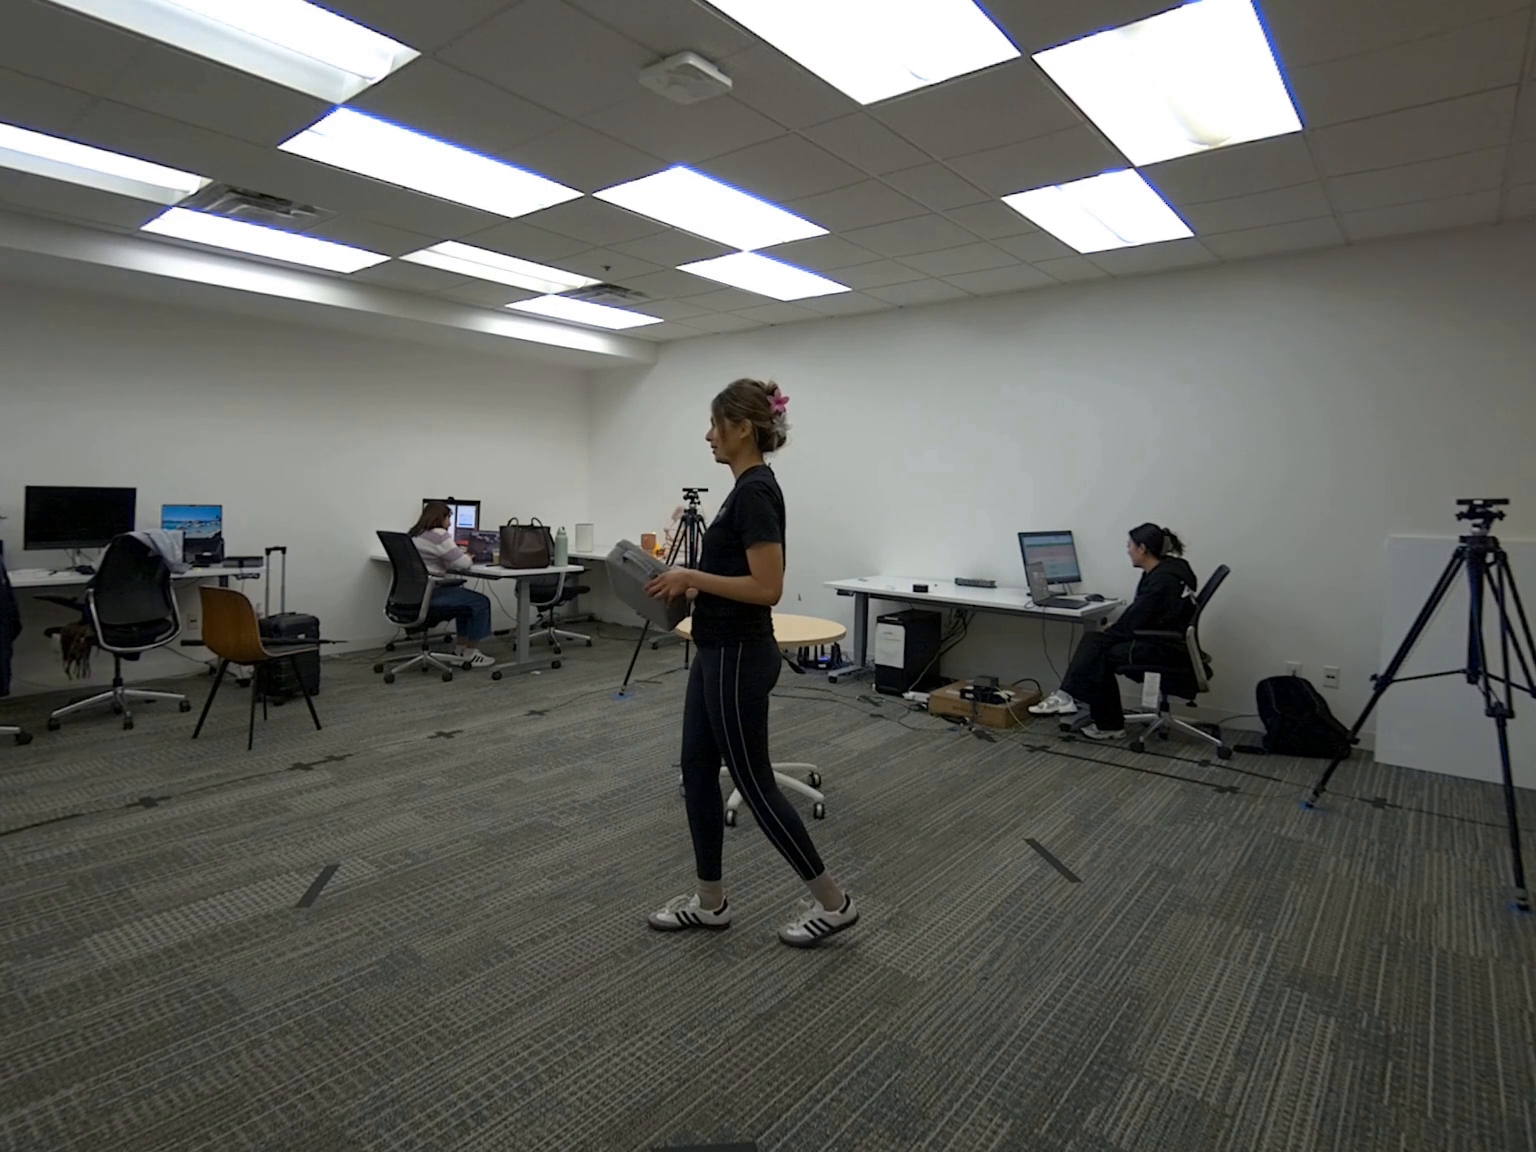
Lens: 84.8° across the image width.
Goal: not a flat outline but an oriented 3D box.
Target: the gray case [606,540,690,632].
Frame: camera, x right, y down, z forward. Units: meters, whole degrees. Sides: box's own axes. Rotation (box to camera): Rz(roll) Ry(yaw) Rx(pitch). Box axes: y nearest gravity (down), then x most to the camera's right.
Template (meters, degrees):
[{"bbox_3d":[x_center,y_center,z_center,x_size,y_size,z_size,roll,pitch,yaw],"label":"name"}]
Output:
[{"bbox_3d":[-0.388,0.030,2.654,0.265,0.104,0.253,33,-27,23],"label":"gray case"}]
